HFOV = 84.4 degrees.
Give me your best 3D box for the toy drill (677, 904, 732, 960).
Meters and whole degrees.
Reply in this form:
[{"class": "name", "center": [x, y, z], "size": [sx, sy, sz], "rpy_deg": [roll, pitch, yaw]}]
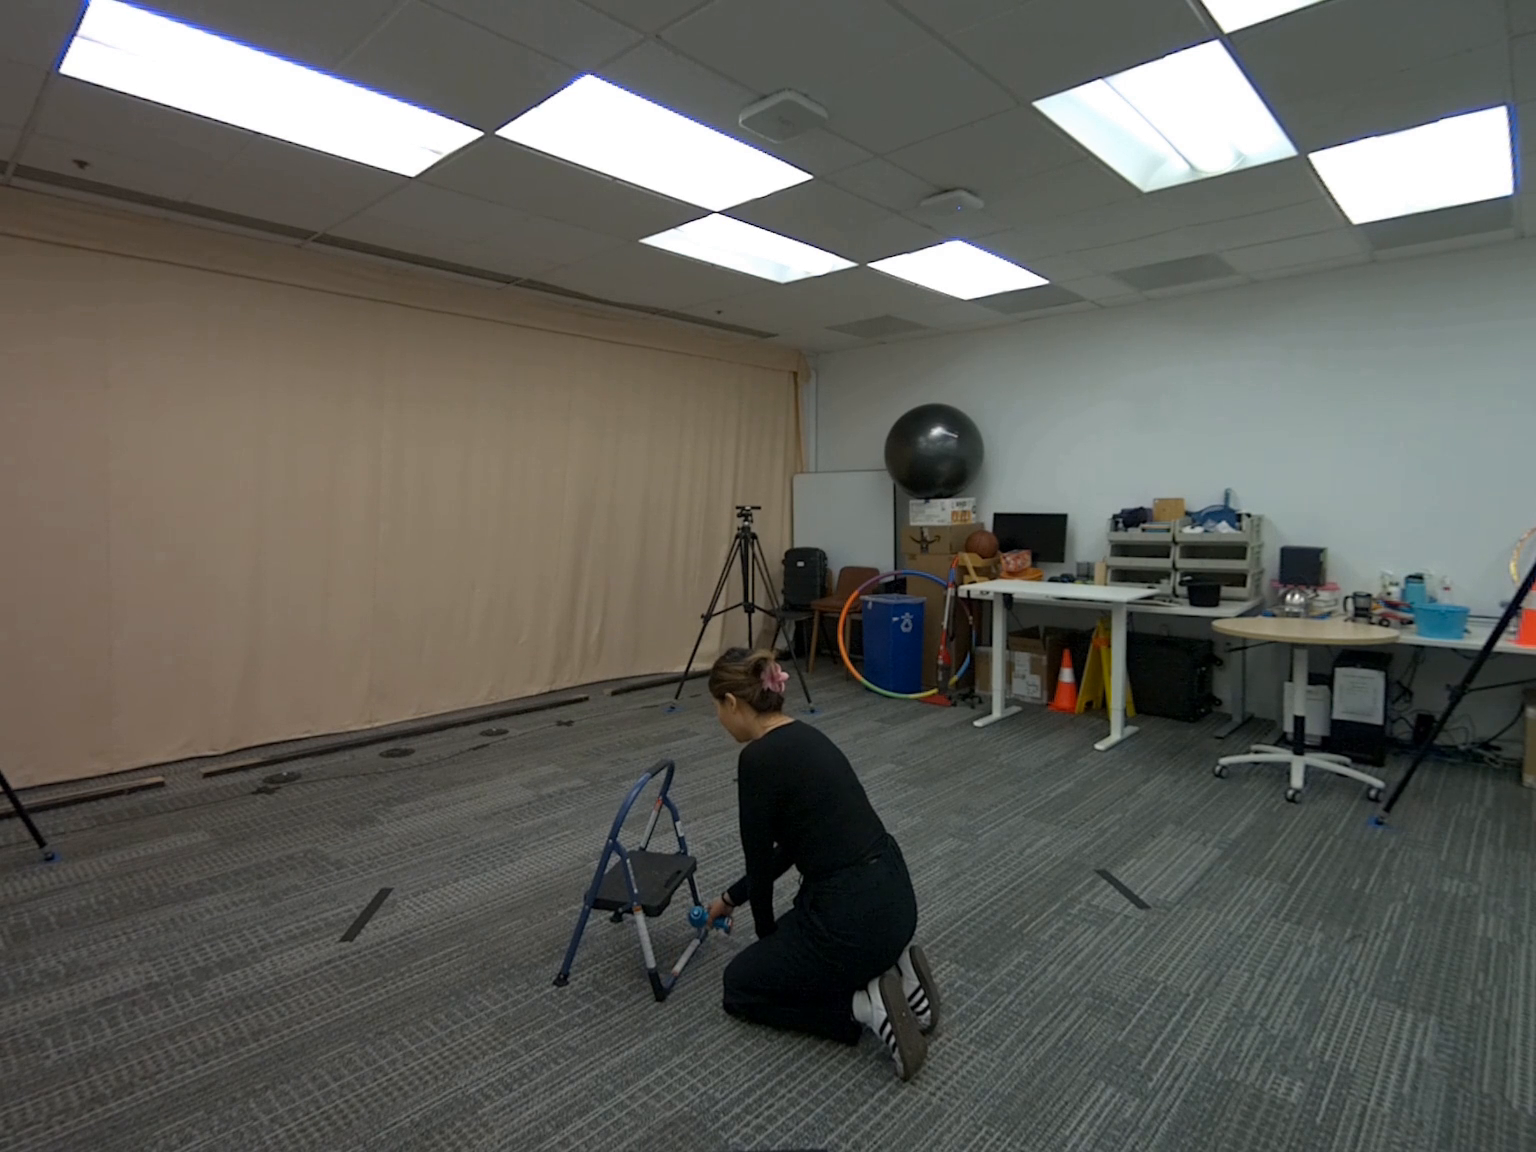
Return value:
[{"class": "toy drill", "center": [-0.176, 1.089, 2.643], "size": [0.148, 0.166, 0.061], "rpy_deg": [12, 49, 13]}]
